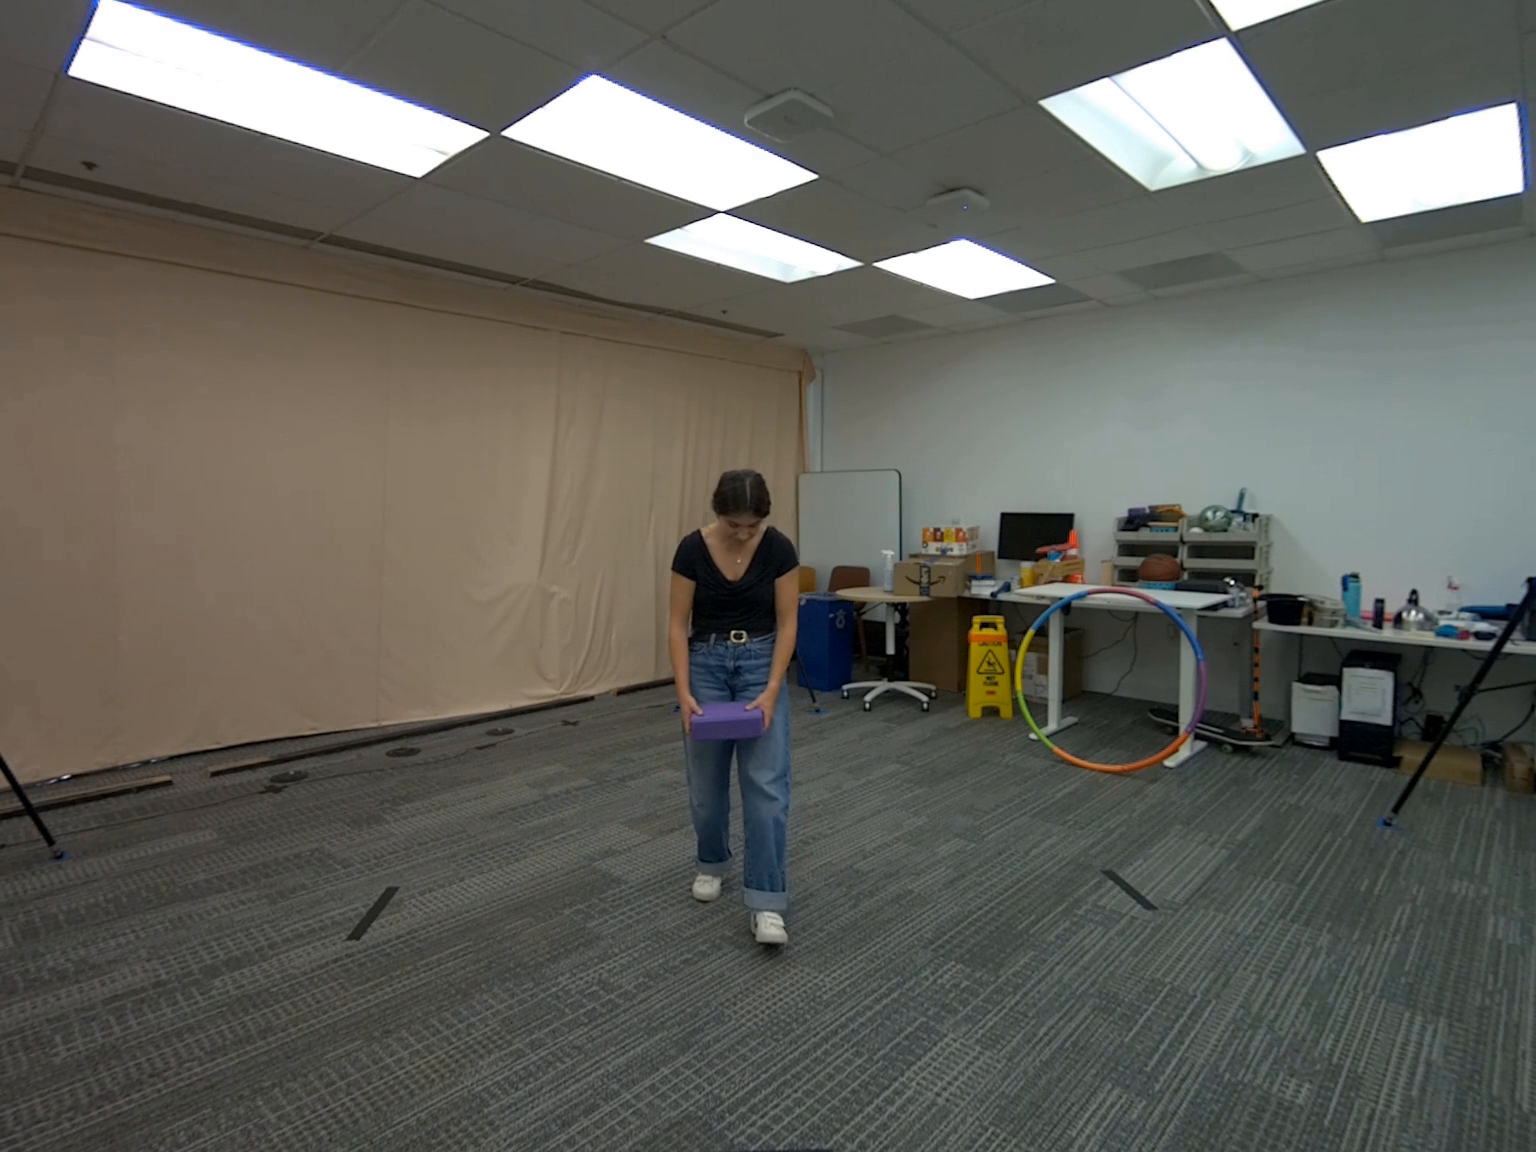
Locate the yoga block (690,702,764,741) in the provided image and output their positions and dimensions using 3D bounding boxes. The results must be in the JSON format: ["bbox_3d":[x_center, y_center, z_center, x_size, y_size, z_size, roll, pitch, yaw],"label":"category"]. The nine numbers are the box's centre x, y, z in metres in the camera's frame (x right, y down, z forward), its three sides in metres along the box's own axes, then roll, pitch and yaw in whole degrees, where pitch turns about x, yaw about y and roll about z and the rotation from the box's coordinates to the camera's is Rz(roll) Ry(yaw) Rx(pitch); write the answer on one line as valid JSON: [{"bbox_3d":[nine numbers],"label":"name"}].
[{"bbox_3d":[-0.131,0.465,2.740,0.230,0.076,0.150,-3,11,1],"label":"yoga block"}]
